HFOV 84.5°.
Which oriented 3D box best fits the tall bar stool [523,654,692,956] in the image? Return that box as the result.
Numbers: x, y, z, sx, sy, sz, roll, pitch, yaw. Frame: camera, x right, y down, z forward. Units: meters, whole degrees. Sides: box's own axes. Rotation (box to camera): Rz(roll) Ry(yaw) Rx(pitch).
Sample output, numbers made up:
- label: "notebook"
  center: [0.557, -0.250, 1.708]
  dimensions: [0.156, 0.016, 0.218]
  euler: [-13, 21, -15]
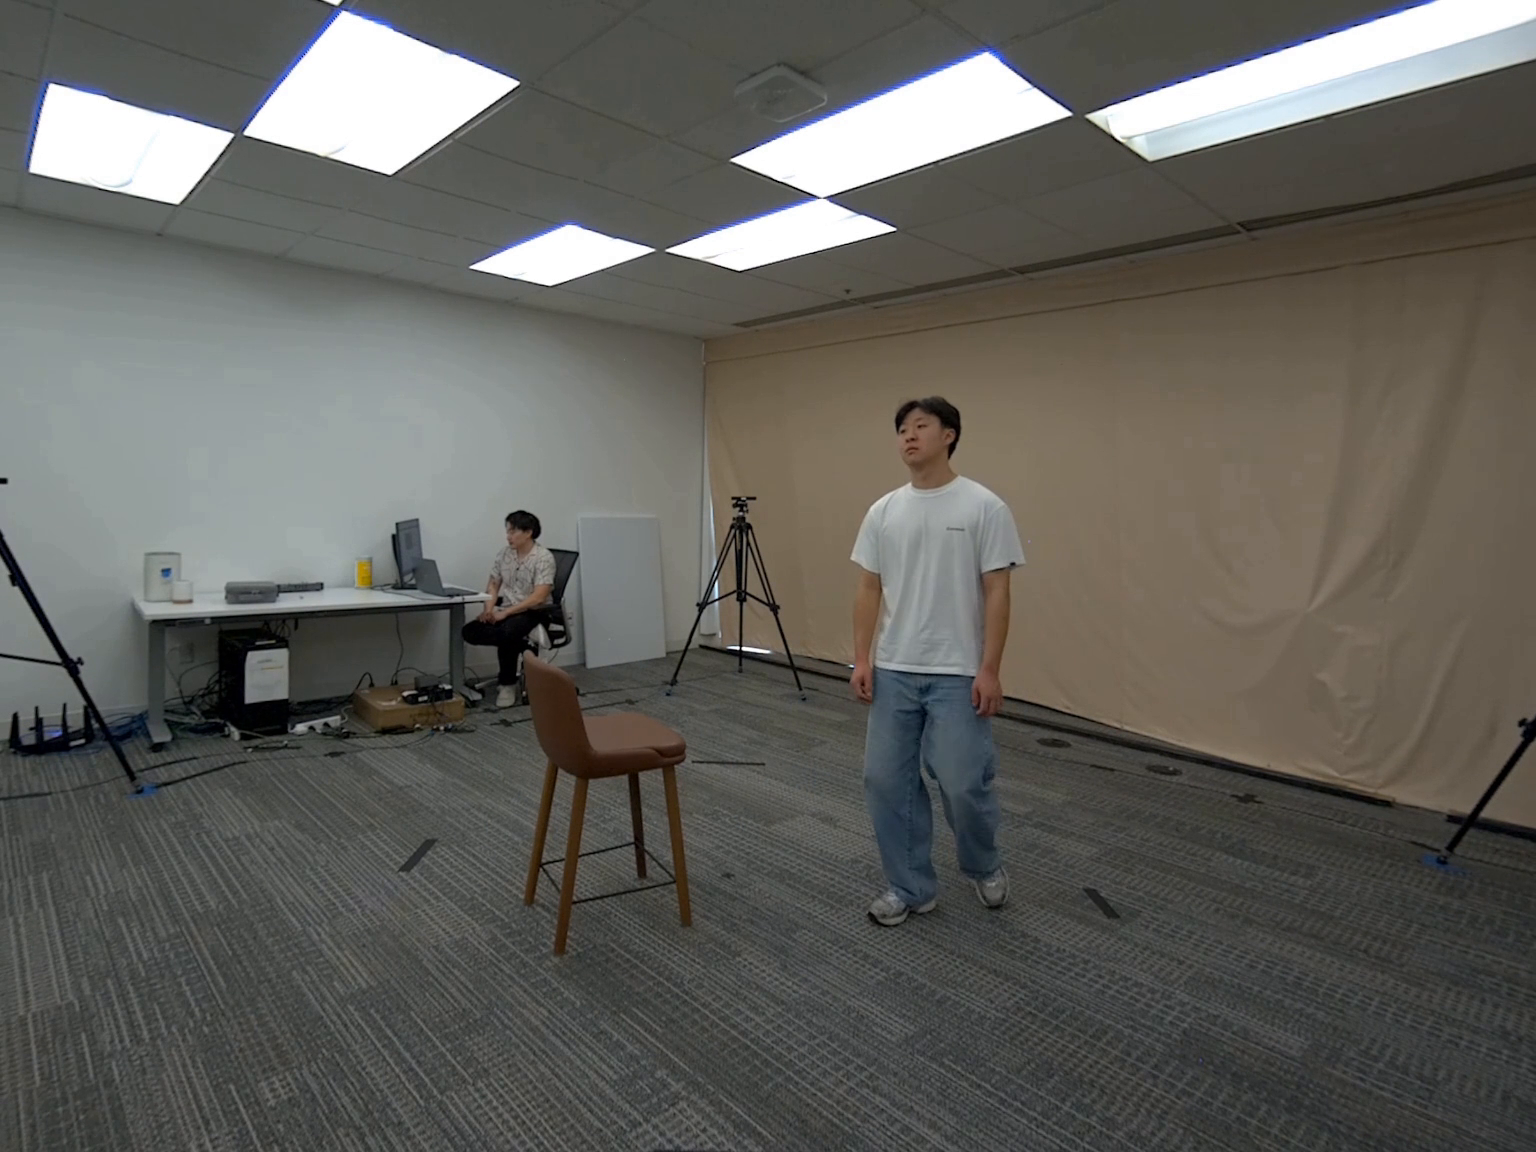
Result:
- label: "tall bar stool"
  center: [-0.540, 0.691, 2.777]
  dimensions: [0.458, 0.887, 0.467]
  euler: [-3, 5, -31]
